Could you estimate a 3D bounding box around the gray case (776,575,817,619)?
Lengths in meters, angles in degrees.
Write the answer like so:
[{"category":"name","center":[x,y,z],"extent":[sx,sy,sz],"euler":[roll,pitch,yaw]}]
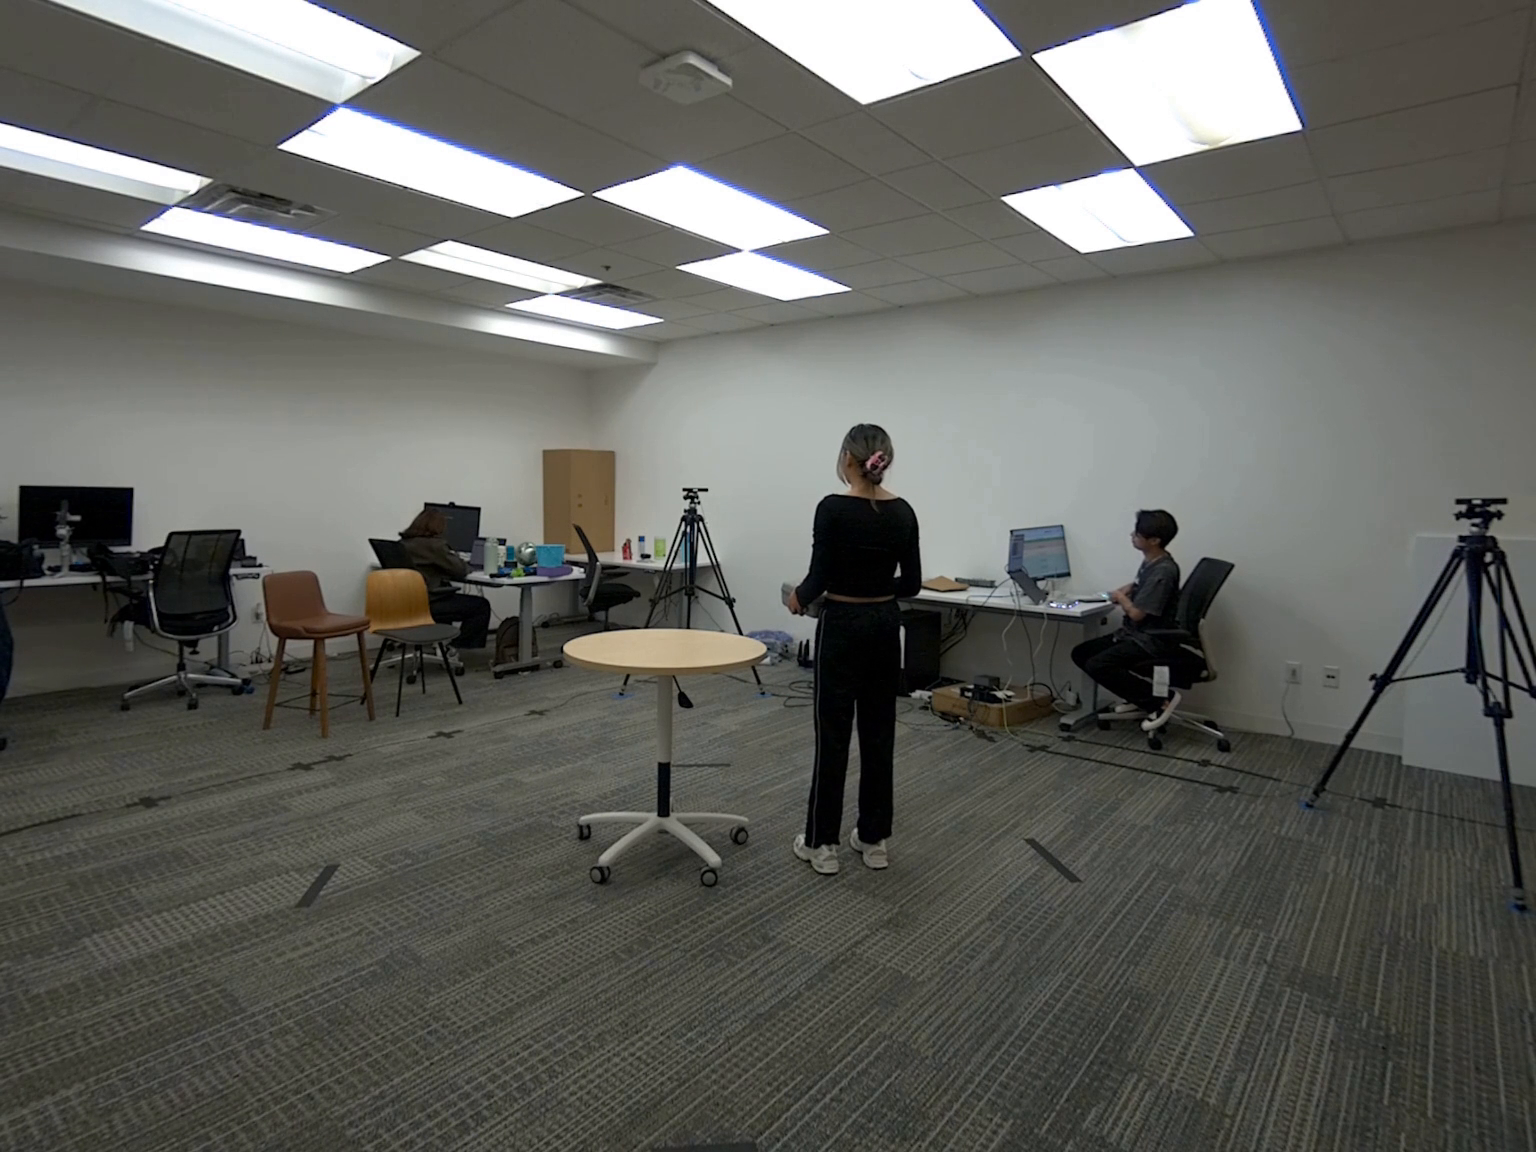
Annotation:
[{"category":"gray case","center":[0.211,0.075,3.435],"extent":[0.251,0.103,0.269],"euler":[-4,14,-25]}]
